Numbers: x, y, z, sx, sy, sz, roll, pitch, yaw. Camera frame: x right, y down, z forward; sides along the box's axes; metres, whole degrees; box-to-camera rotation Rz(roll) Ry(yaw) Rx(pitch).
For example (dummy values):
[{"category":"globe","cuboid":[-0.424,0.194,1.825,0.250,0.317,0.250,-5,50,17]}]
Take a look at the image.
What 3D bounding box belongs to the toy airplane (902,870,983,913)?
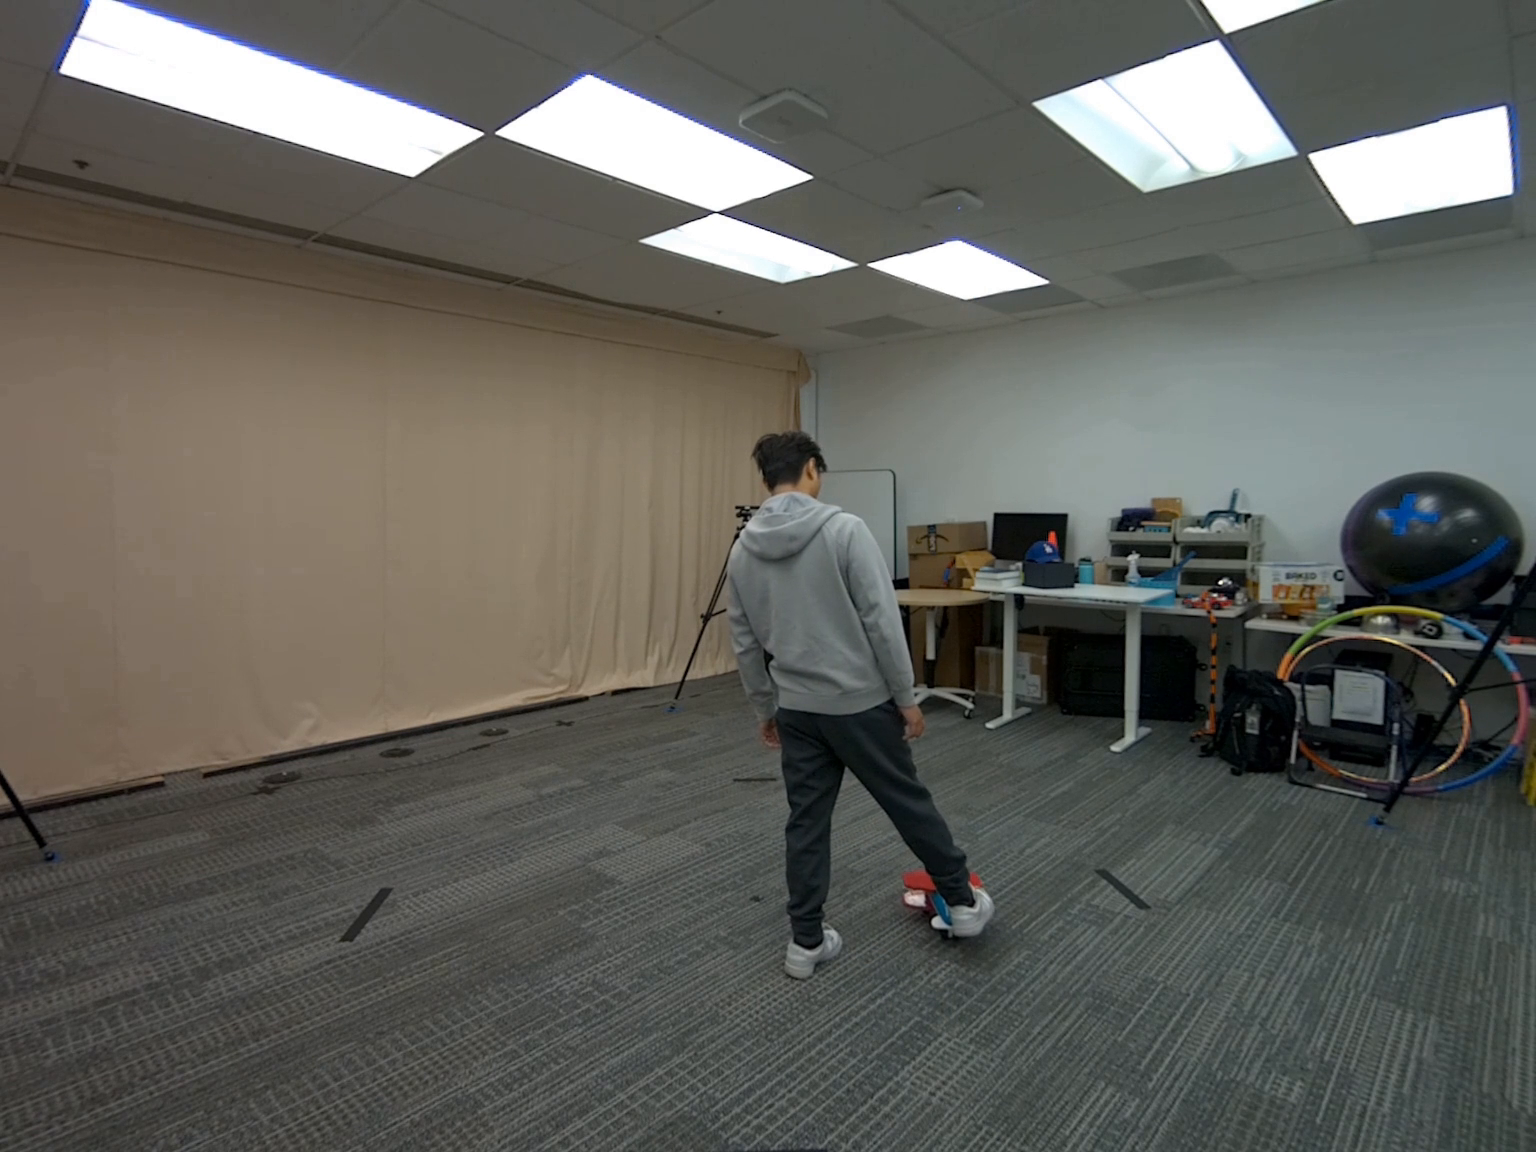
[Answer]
[{"category":"toy airplane","cuboid":[0.606,1.086,2.790,0.245,0.156,0.266,-2,6,-27]}]
